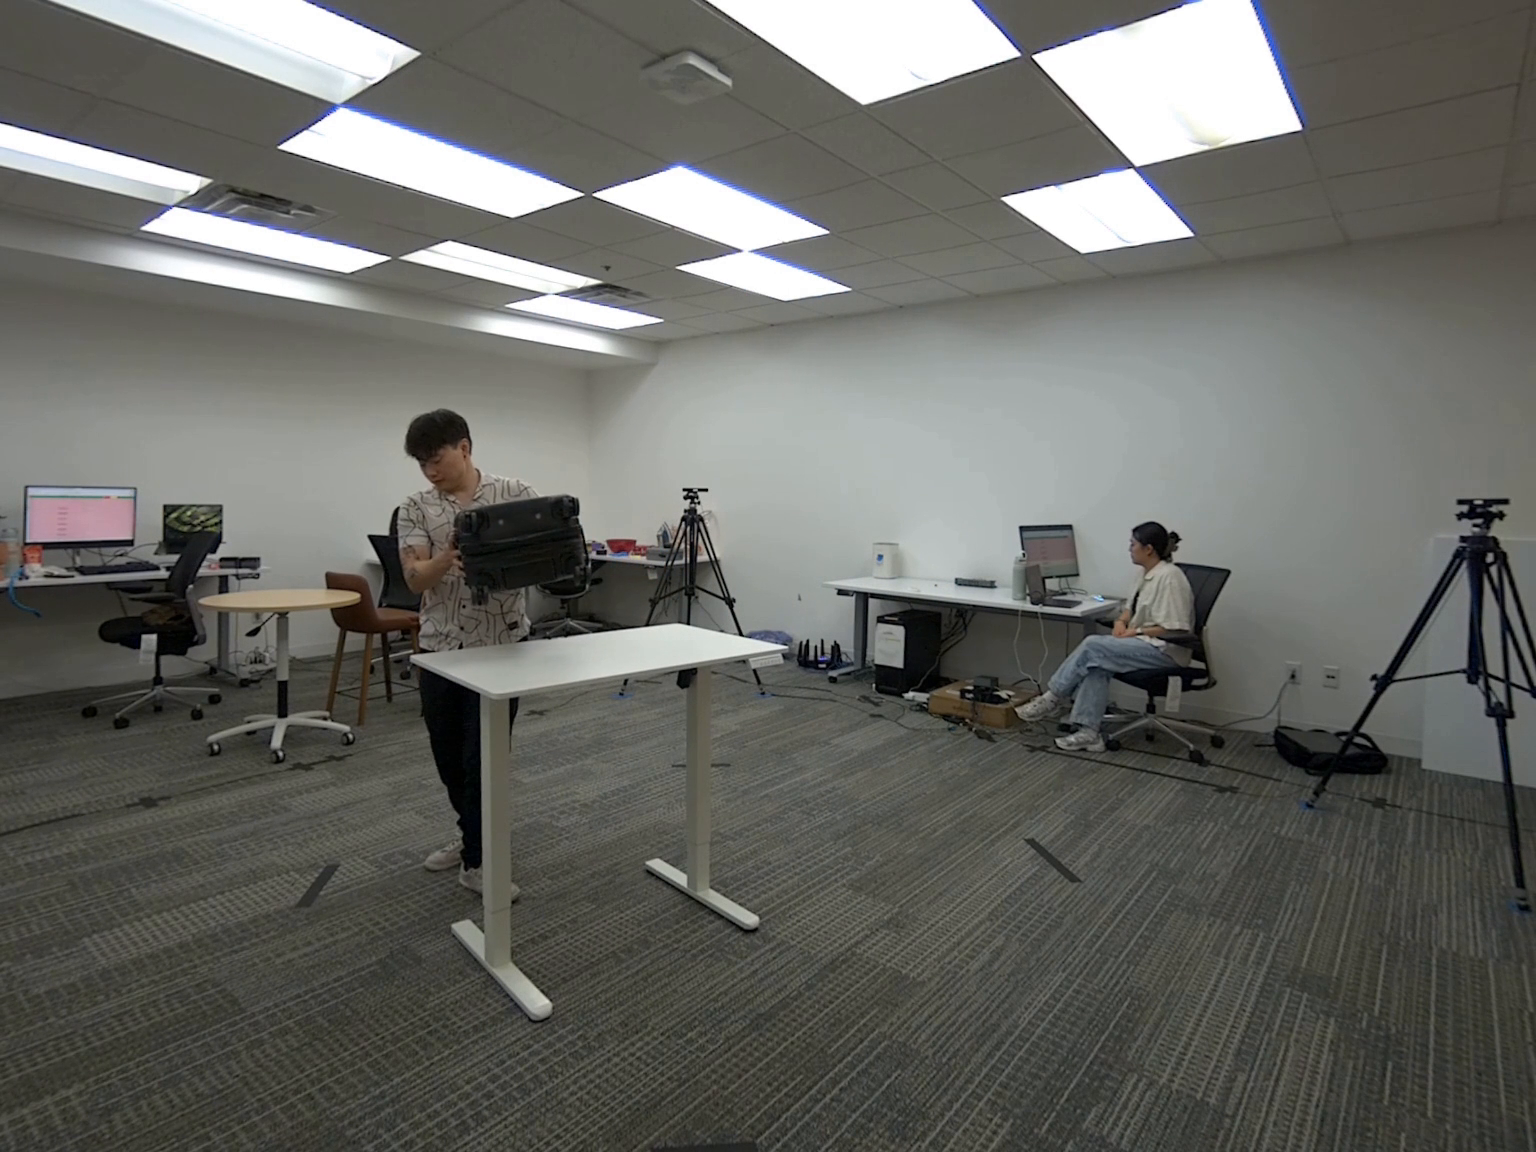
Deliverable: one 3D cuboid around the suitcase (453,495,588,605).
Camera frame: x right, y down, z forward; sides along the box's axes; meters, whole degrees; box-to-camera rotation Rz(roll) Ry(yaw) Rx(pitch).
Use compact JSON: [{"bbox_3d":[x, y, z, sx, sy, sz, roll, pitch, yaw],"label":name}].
[{"bbox_3d":[-0.795,-0.108,2.653,0.369,0.247,0.562,-13,8,-20],"label":"suitcase"}]
